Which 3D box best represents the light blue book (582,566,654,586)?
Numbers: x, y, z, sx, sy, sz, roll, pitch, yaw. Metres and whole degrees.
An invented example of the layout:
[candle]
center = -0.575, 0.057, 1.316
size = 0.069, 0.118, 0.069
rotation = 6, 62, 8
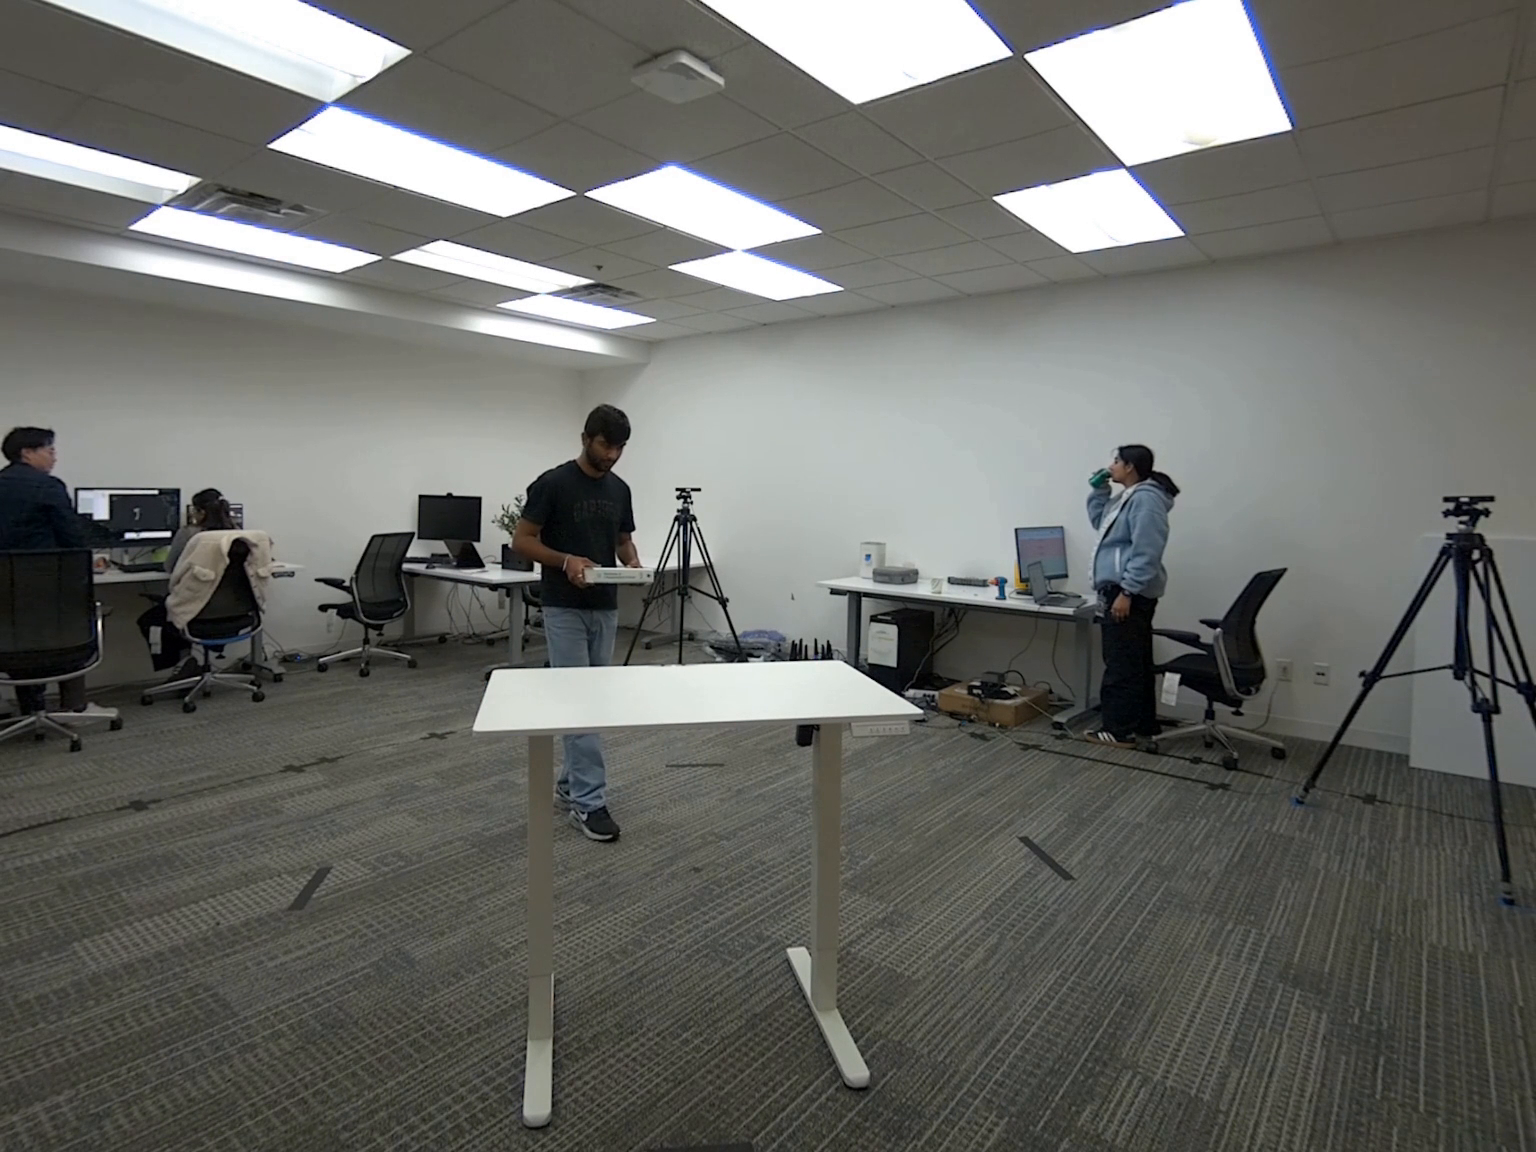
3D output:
[light blue book]
center = -0.621, -0.005, 3.378
size = 0.254, 0.059, 0.196
rotation = -1, 1, -28
